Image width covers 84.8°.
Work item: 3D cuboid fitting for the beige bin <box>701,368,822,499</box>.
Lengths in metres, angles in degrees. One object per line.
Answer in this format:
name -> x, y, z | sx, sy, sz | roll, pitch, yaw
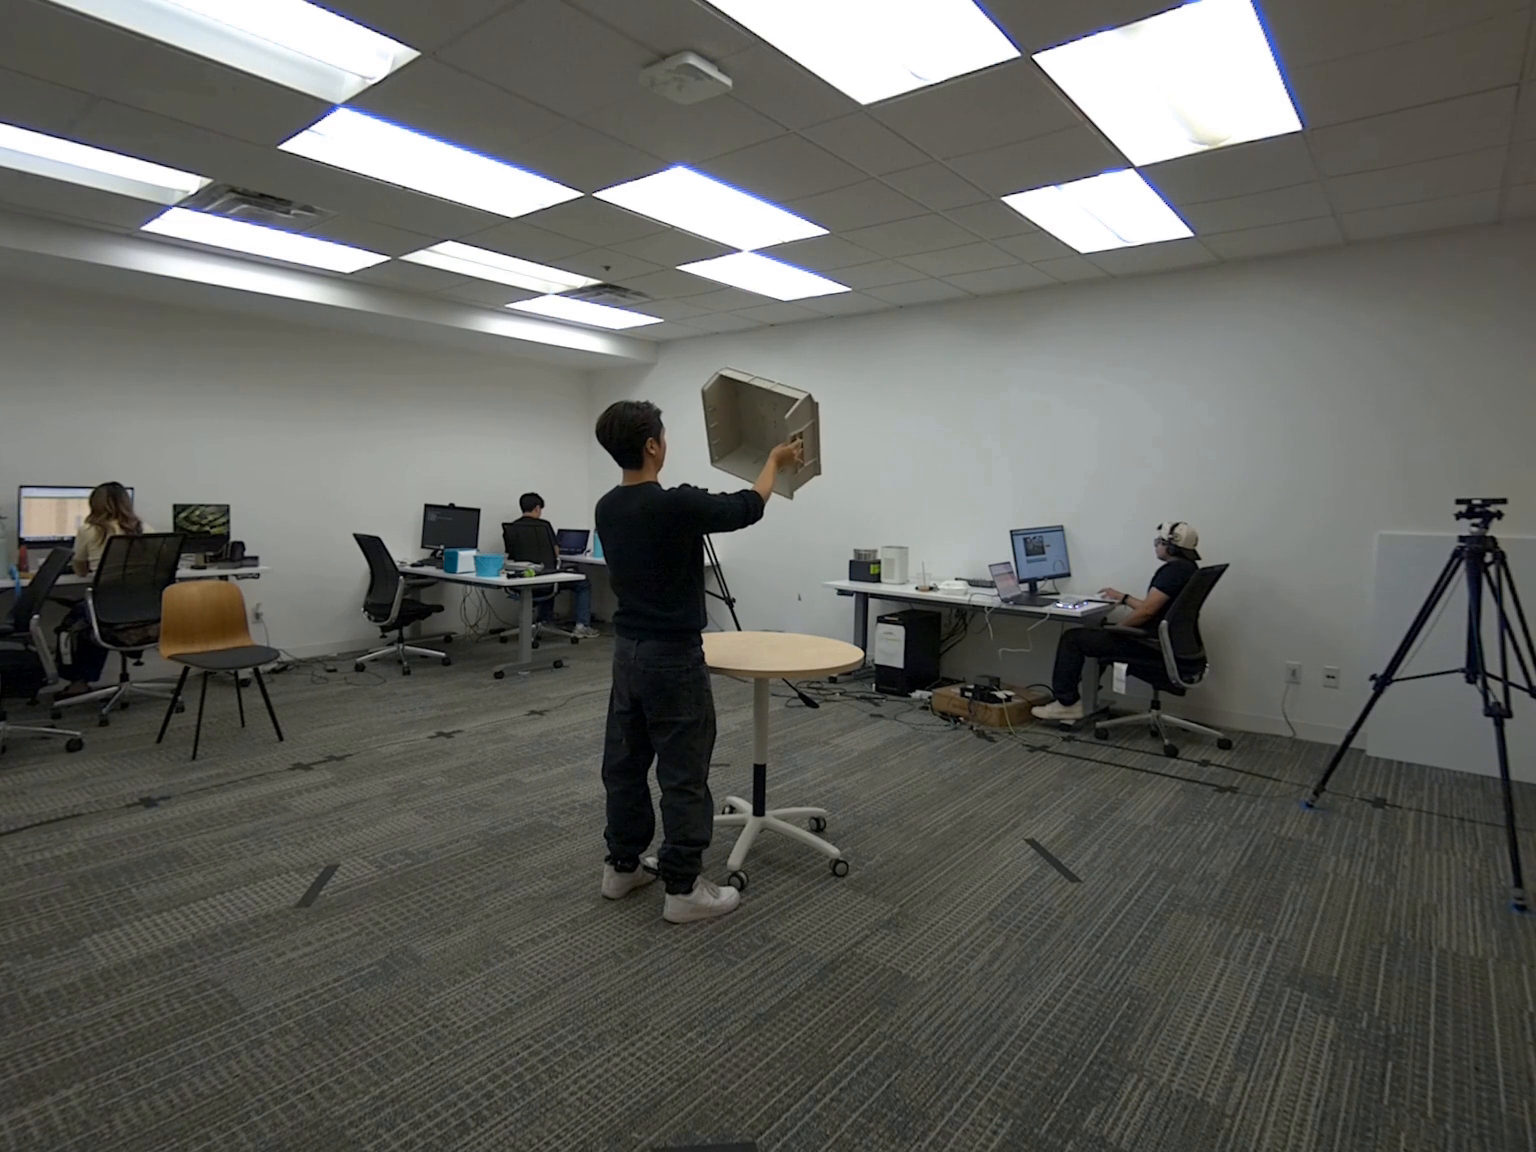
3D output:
beige bin -> -0.036, -0.545, 3.183 | 0.439, 0.365, 0.187 | 26, 49, 35
